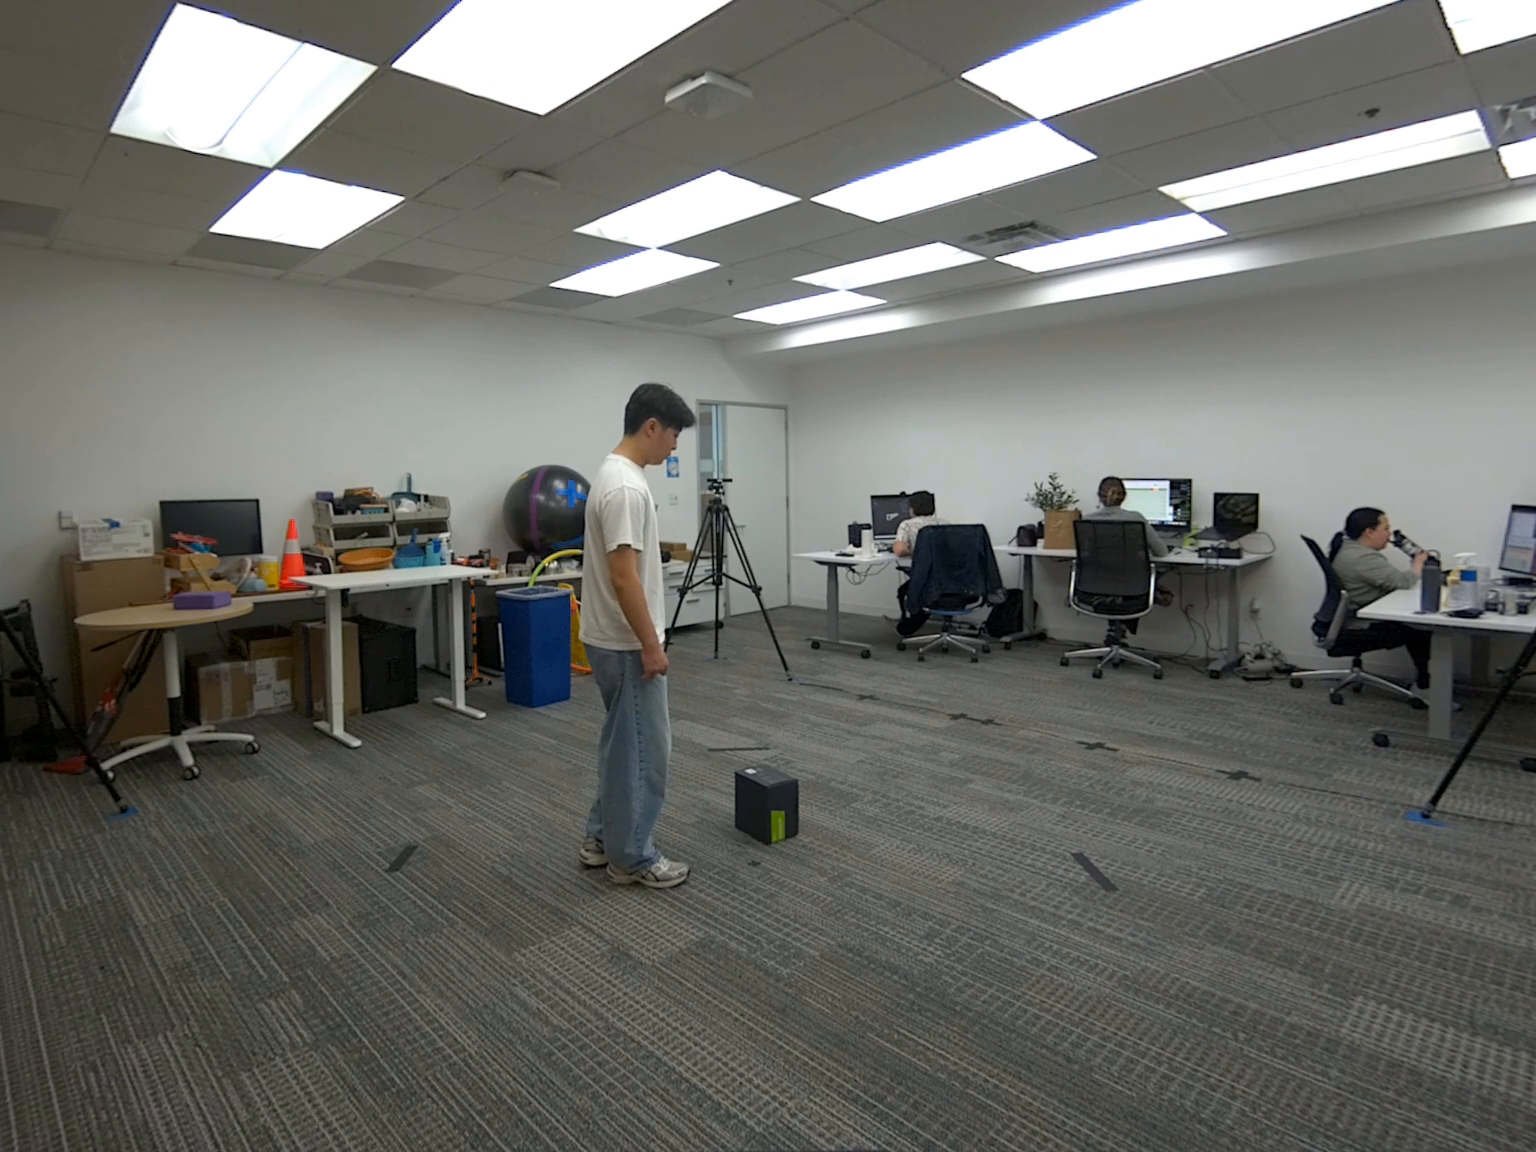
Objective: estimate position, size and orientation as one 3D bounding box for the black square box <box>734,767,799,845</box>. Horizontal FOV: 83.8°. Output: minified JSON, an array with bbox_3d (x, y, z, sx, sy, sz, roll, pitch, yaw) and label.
[{"bbox_3d":[-0.005,0.895,3.377,0.152,0.227,0.223,-3,6,-37],"label":"black square box"}]
